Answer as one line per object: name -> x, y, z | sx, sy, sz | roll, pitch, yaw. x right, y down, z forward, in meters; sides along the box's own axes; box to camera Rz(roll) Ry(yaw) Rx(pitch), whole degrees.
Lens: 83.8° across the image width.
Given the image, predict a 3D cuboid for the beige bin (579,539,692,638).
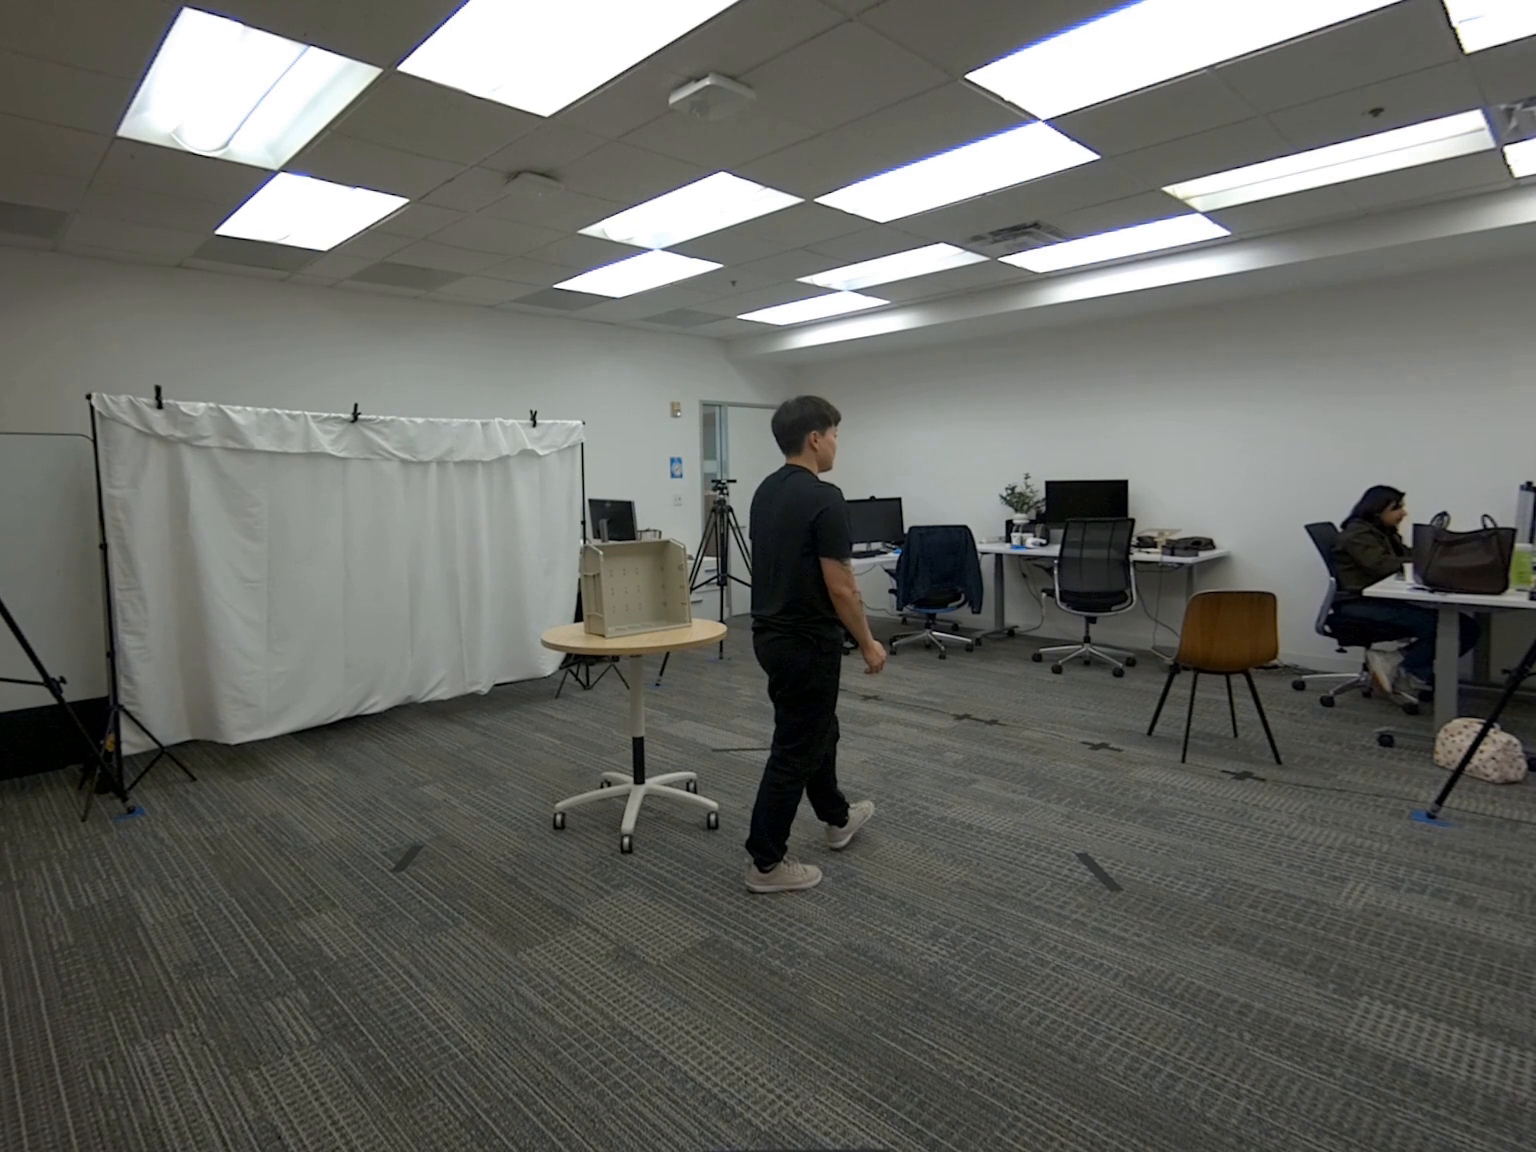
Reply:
beige bin -> -0.552, 0.043, 3.555 | 0.411, 0.377, 0.194 | -6, 1, -40
